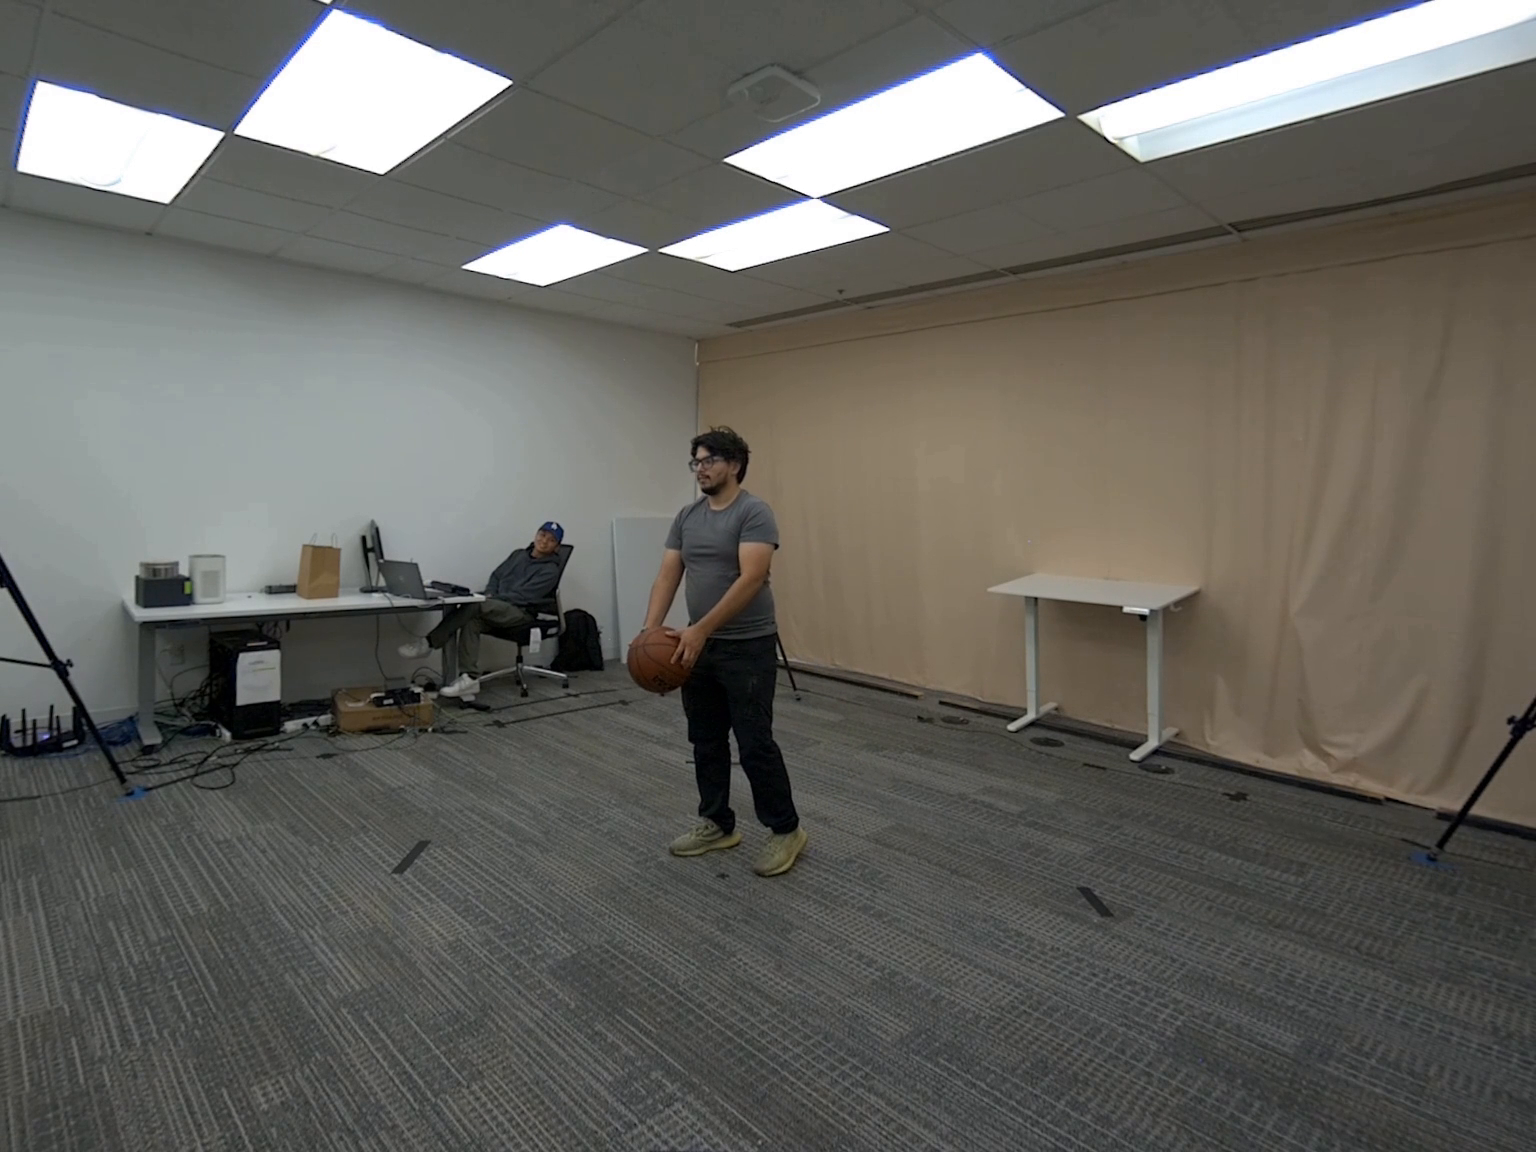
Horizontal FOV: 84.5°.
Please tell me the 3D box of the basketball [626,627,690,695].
[{"bbox_3d":[-0.392,0.300,3.026,0.236,0.235,0.237,1,4,-1],"label":"basketball"}]
